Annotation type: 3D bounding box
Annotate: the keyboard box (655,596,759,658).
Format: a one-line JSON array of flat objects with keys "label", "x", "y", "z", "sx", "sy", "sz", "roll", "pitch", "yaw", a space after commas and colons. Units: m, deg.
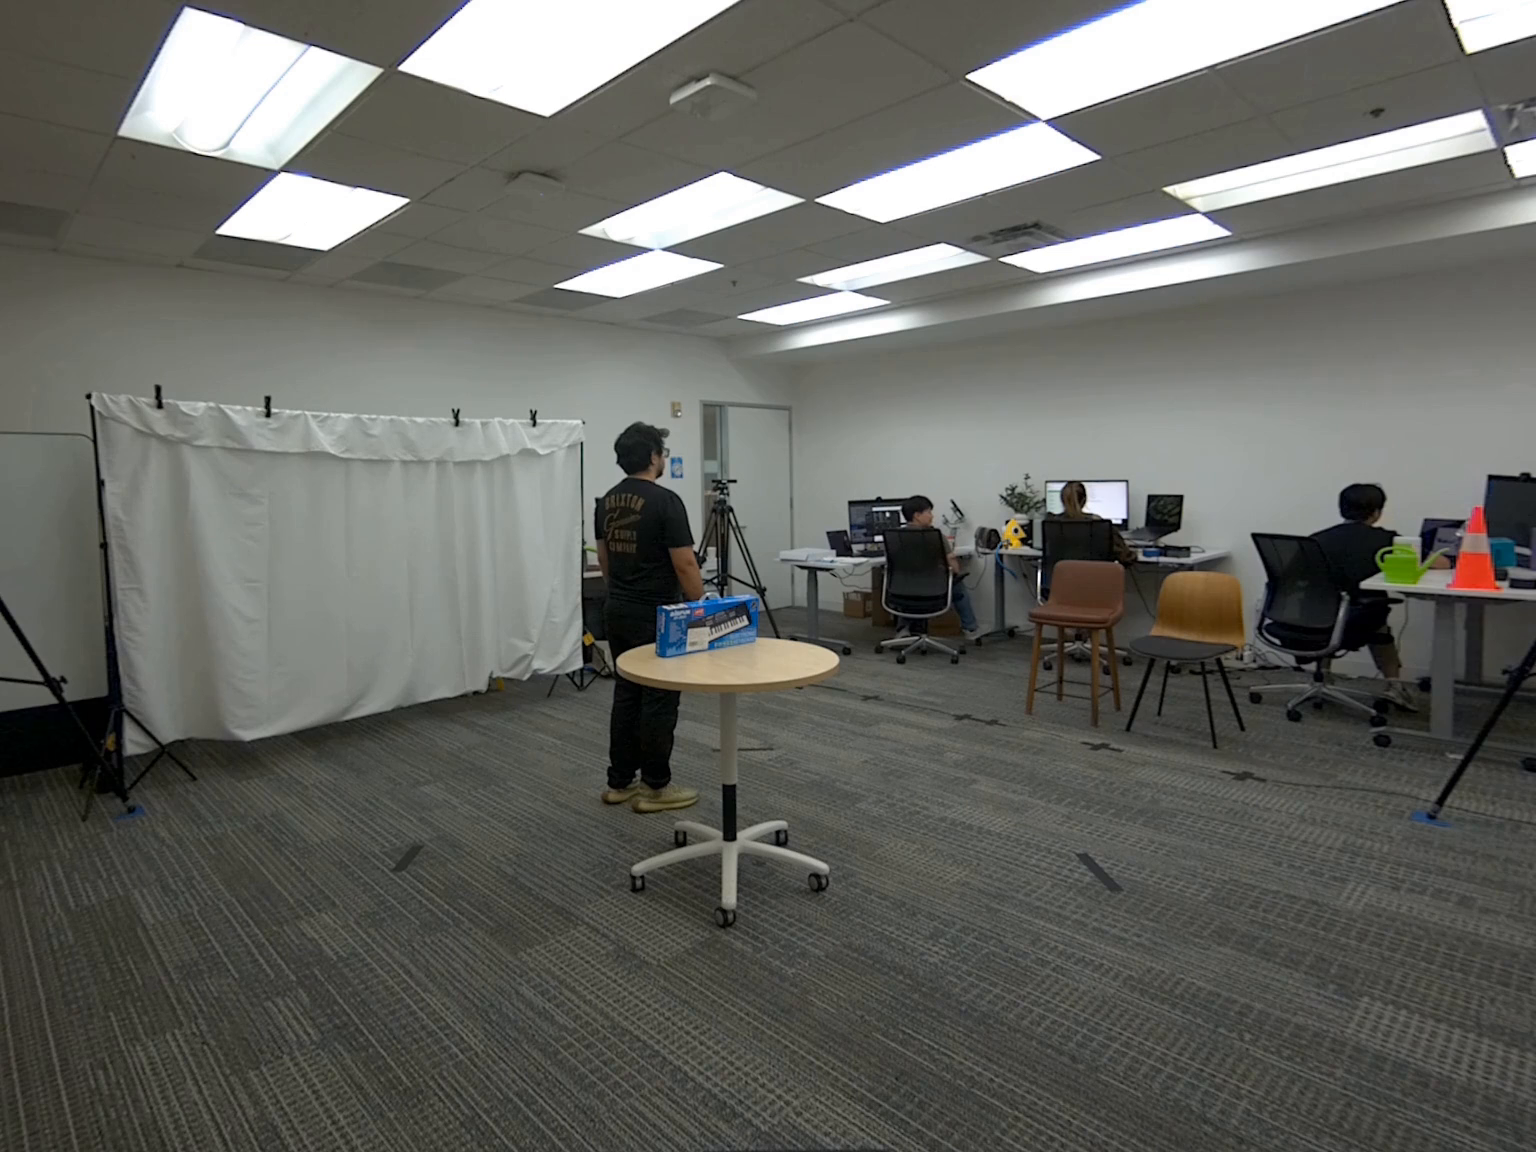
[{"label": "keyboard box", "x": -0.215, "y": 0.179, "z": 3.101, "sx": 0.425, "sy": 0.175, "sz": 0.061, "roll": -6, "pitch": 12, "yaw": -43}]
